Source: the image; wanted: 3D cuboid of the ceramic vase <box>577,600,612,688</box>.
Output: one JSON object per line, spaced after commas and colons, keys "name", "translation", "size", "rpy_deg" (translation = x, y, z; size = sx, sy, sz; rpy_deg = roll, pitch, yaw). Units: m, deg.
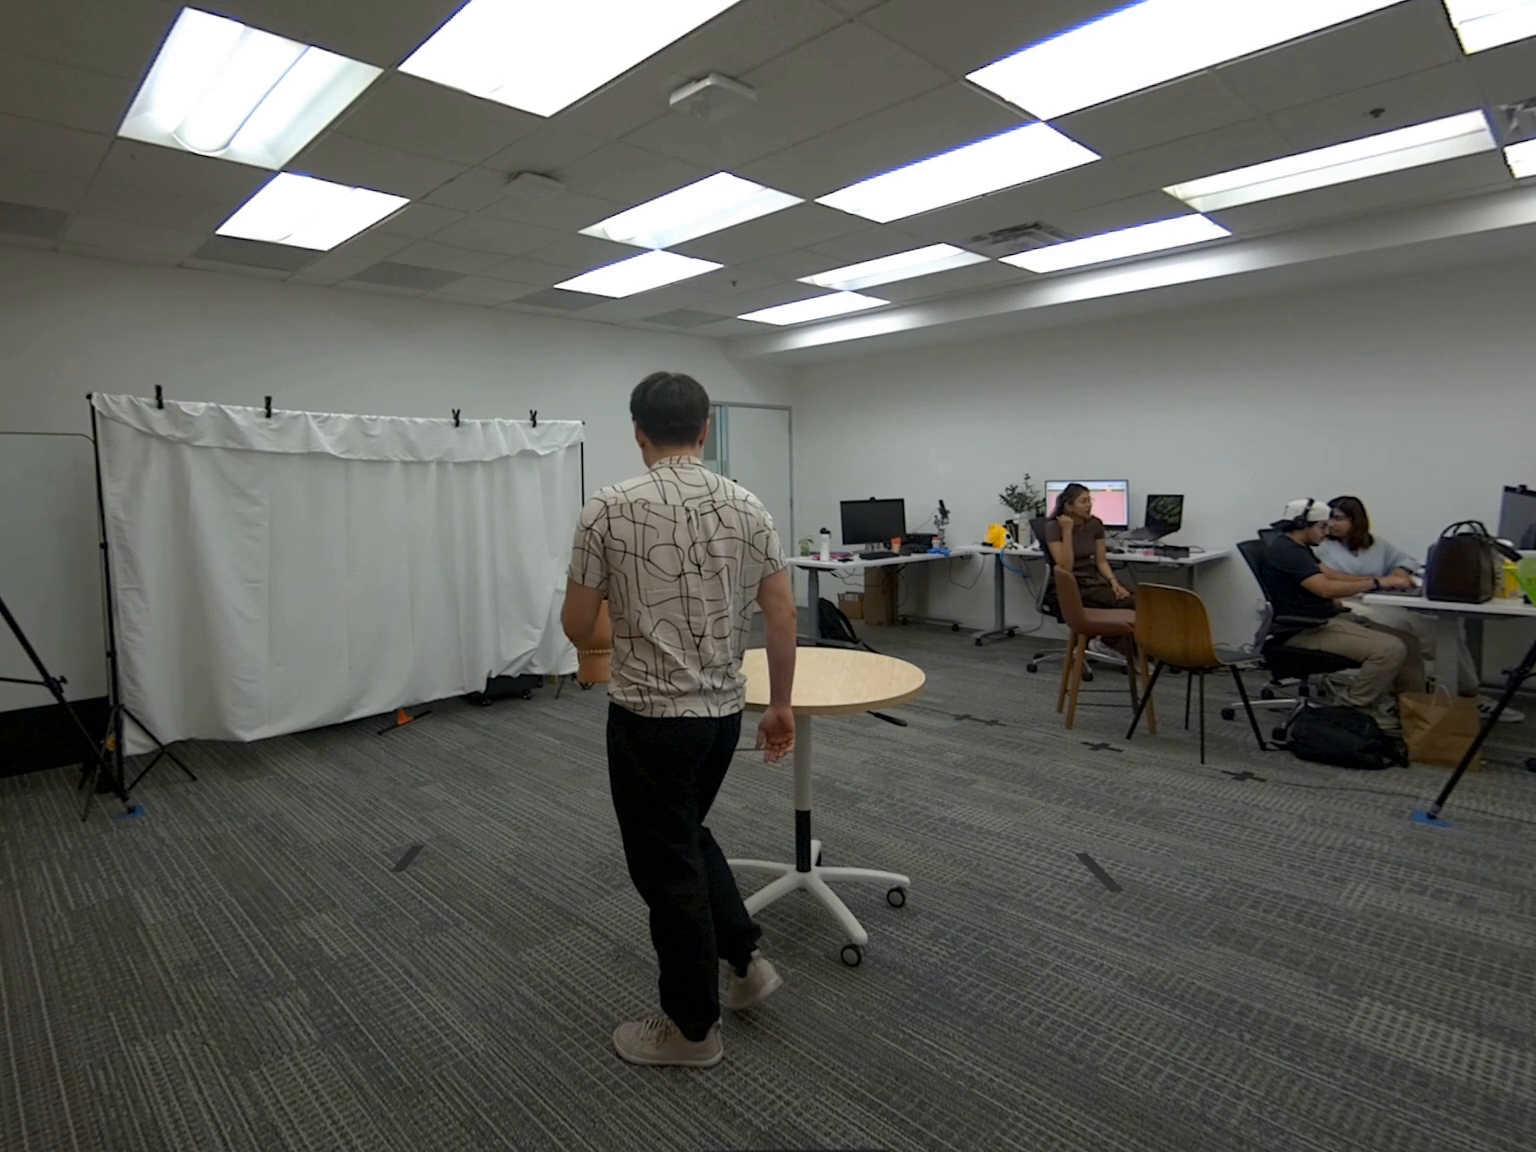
{"name": "ceramic vase", "translation": [-0.467, 0.181, 2.355], "size": [0.154, 0.221, 0.137], "rpy_deg": [2, -5, -33]}
